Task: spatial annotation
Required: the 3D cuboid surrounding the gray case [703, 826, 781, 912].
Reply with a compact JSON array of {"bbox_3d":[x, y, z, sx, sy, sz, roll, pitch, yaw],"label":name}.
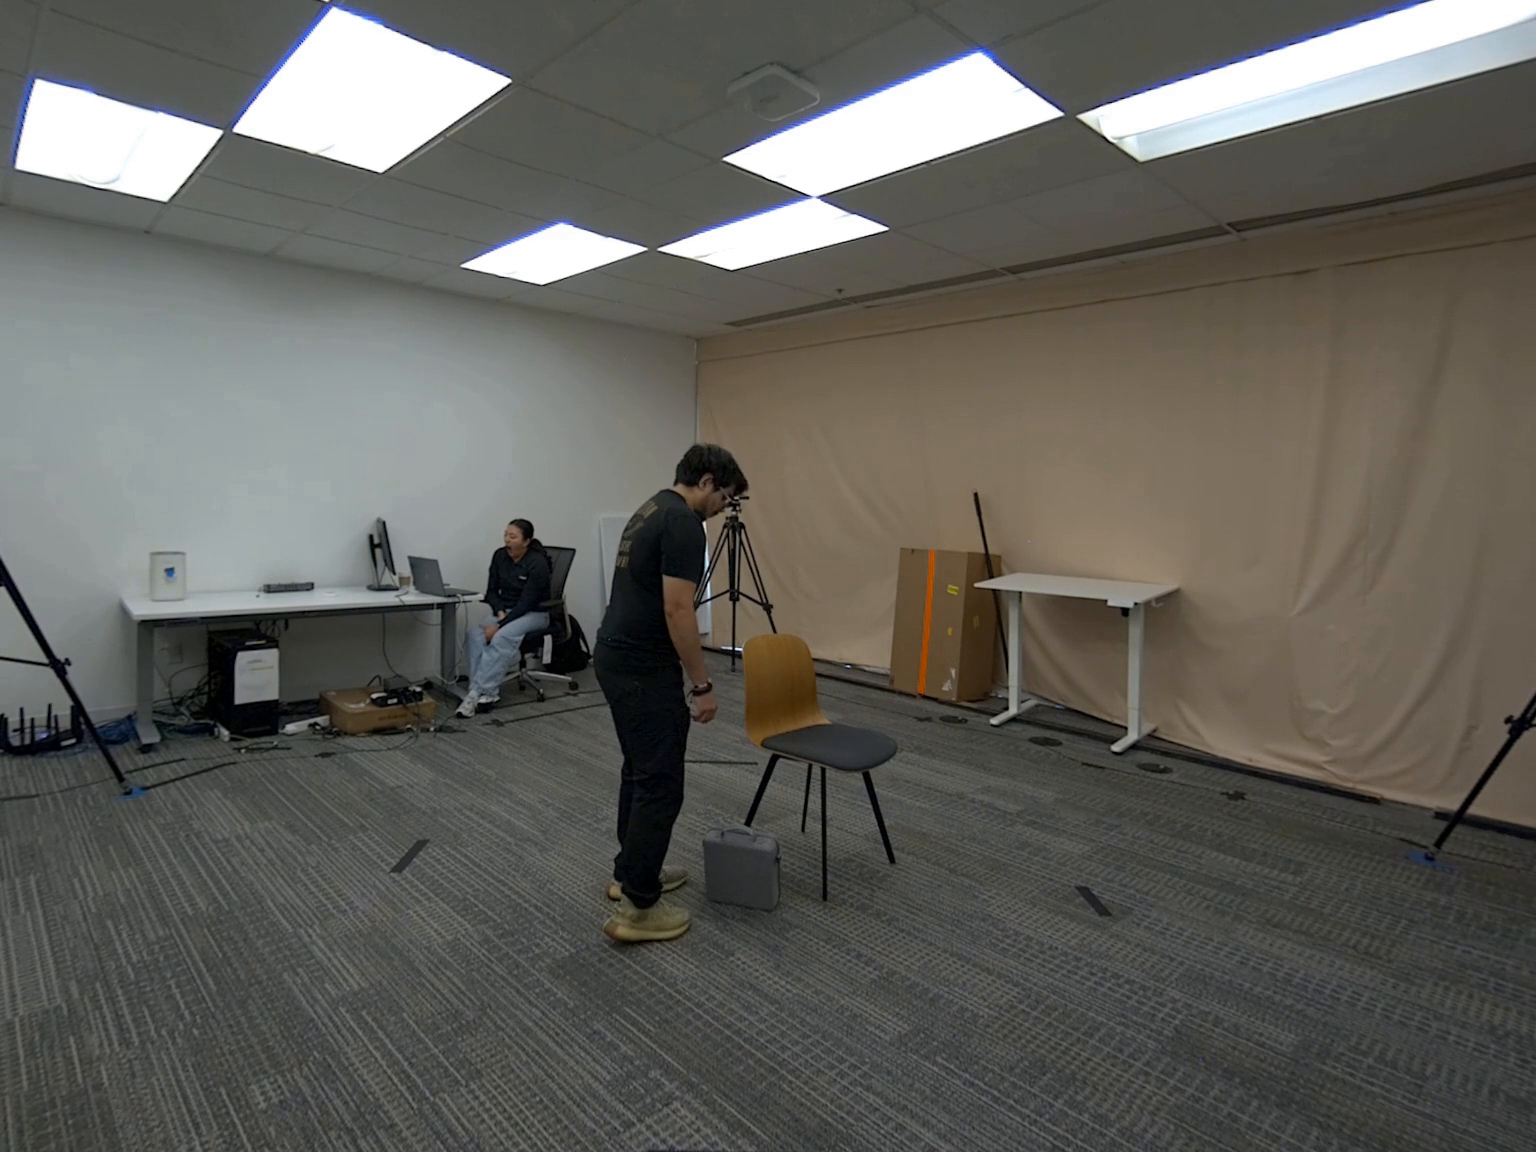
[{"bbox_3d":[-0.093,0.995,2.875,0.261,0.258,0.104,2,16,18],"label":"gray case"}]
